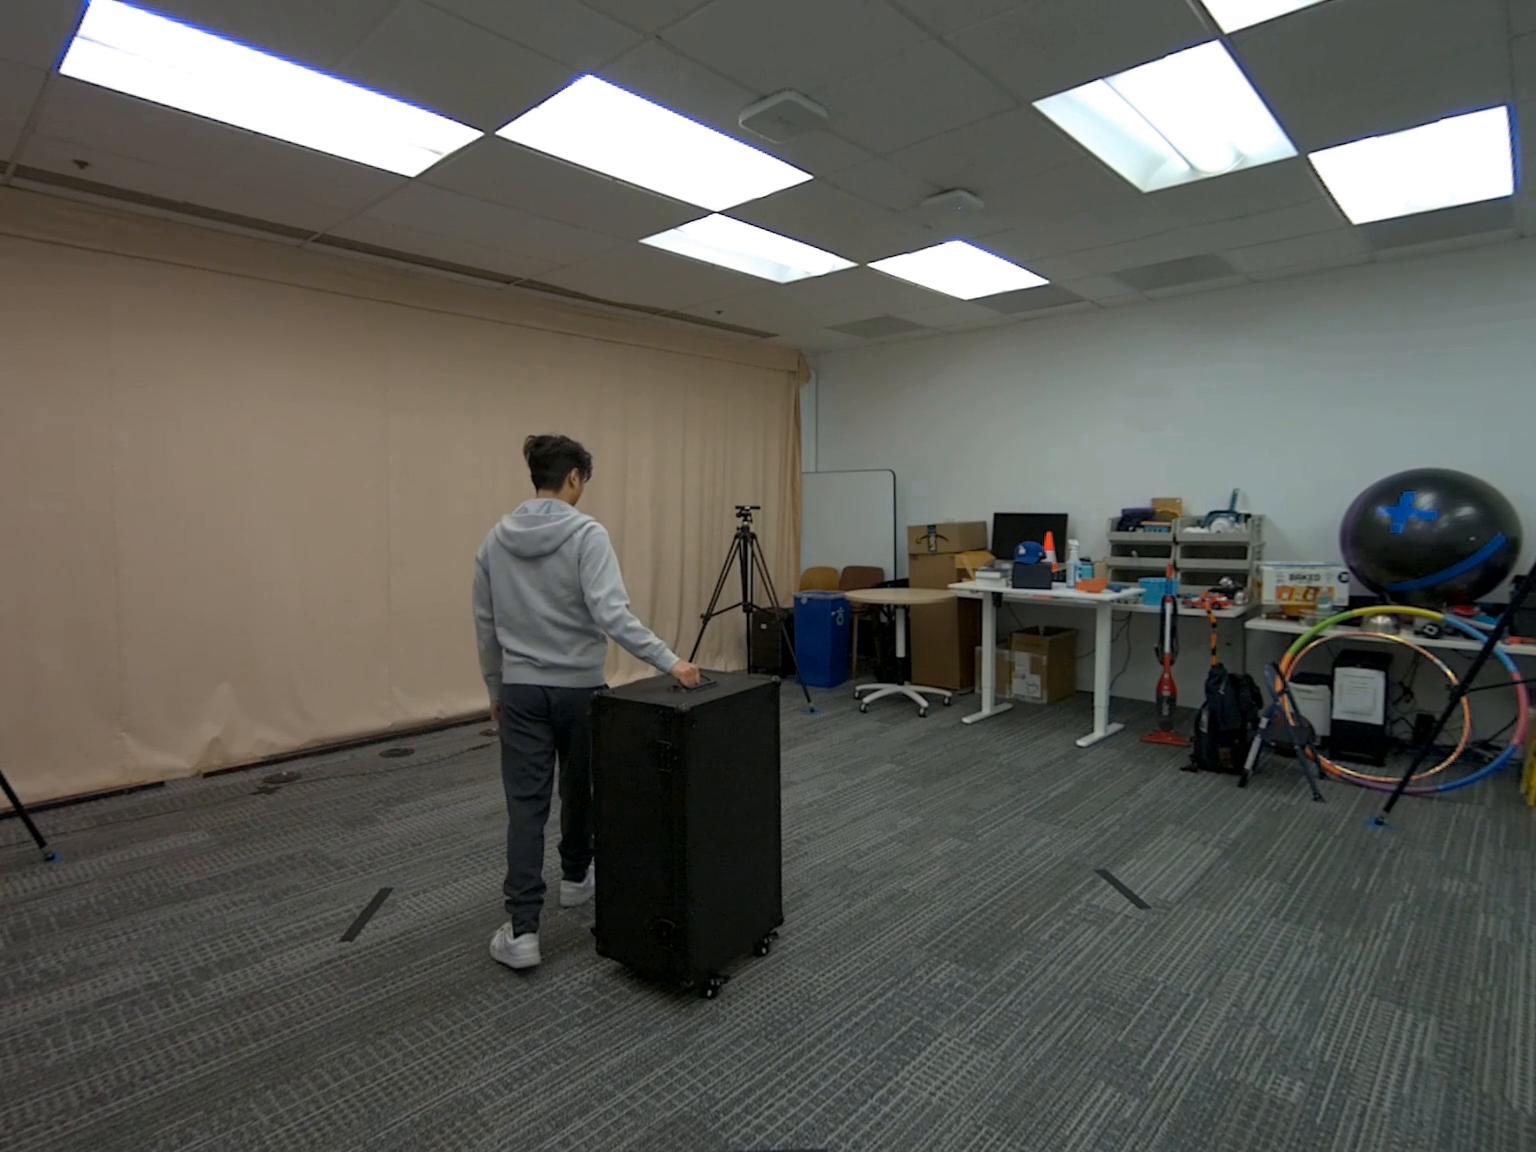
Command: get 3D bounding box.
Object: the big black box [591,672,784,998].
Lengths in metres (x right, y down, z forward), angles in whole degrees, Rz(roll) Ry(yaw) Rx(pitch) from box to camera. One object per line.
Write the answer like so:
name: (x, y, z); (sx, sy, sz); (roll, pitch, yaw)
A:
big black box: (-0.242, 0.757, 2.561); (0.408, 0.860, 0.506); (0, 3, 35)
